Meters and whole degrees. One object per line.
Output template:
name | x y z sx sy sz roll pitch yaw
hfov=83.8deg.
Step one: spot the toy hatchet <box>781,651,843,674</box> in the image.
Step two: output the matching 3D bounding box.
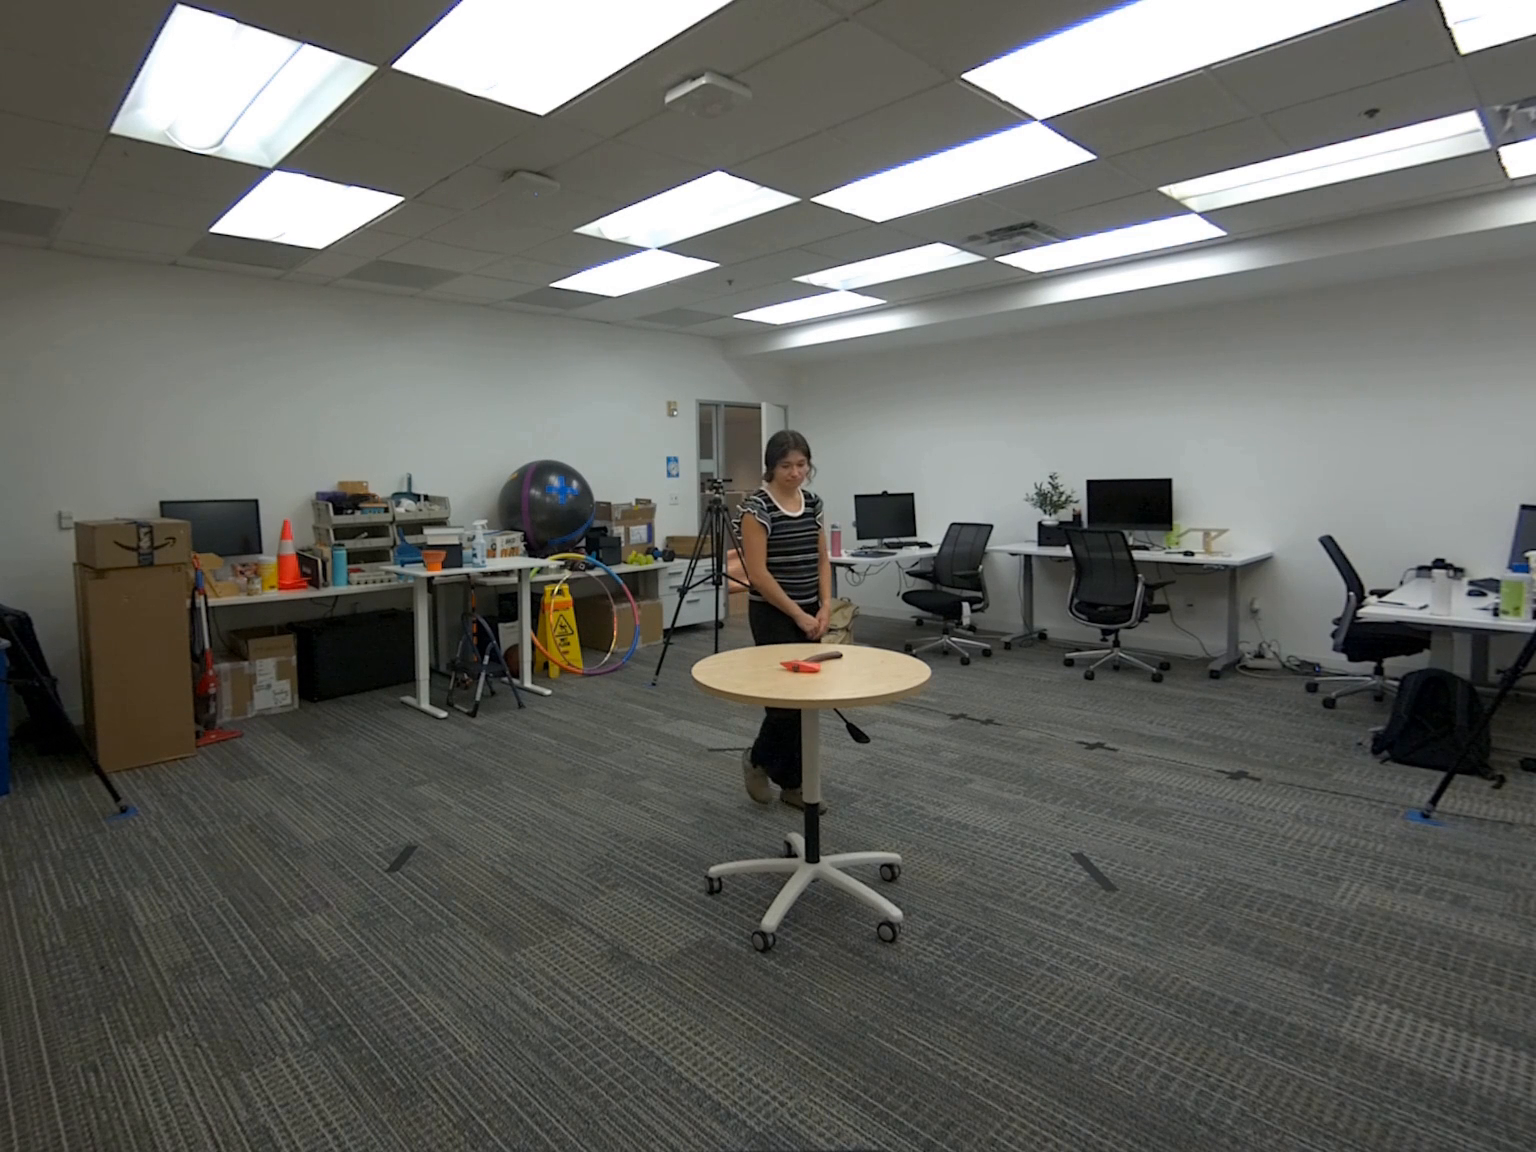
toy hatchet | 0.182 0.283 2.791 0.263 0.029 0.135 -6 10 -42
